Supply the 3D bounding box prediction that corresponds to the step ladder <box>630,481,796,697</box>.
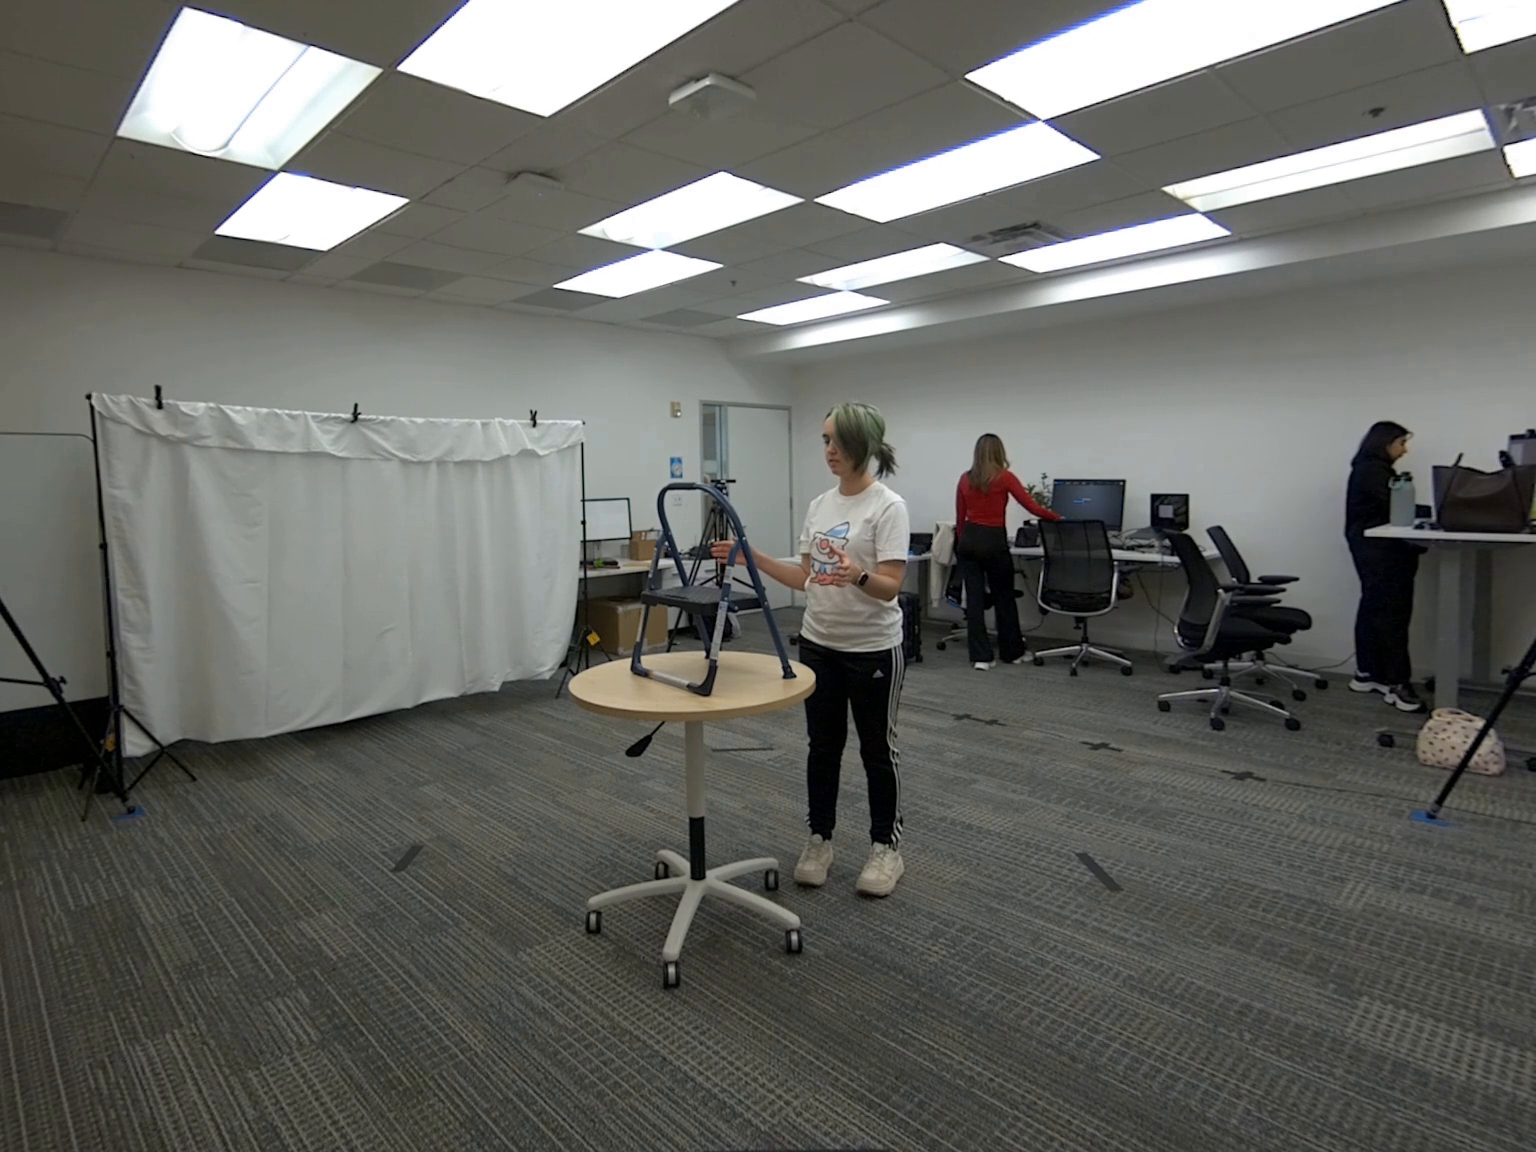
[{"bbox_3d":[-0.186,0.013,2.665,0.340,0.604,0.443,-5,5,-39],"label":"step ladder"}]
